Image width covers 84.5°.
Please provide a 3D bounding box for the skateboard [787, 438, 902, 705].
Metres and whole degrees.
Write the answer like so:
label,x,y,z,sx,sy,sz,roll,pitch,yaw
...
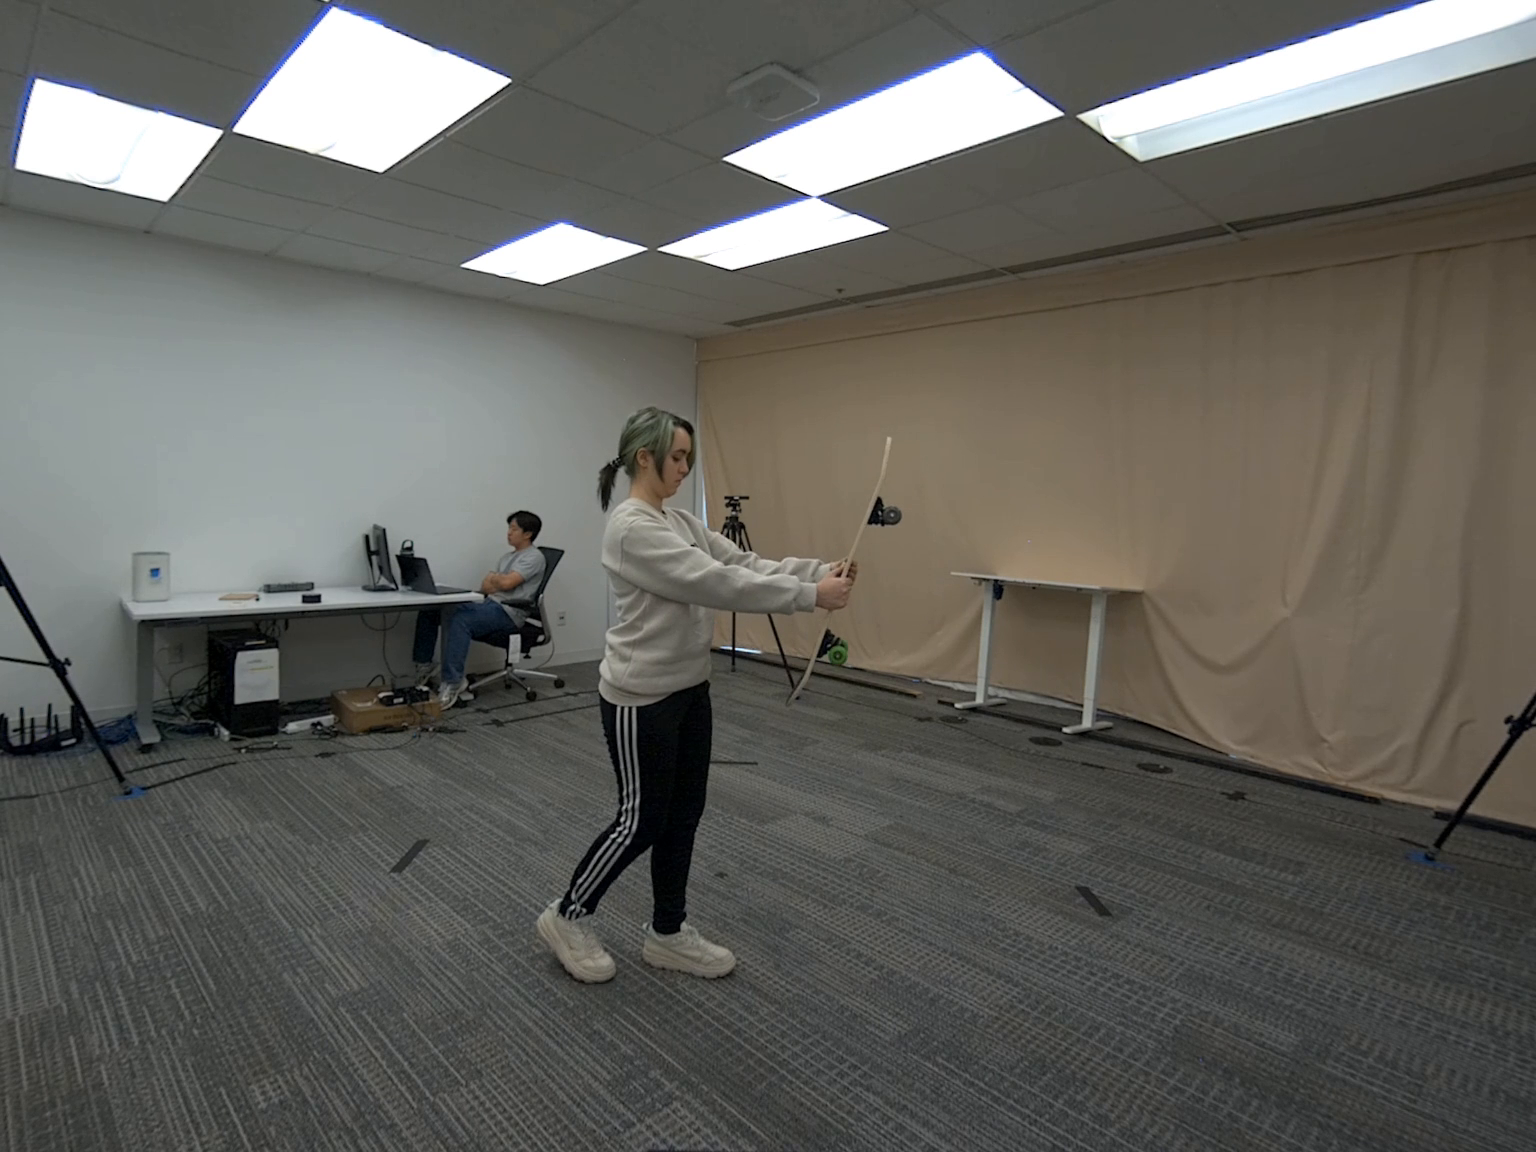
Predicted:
label,x,y,z,sx,sy,sz,roll,pitch,yaw
skateboard,0.231,0.012,2.290,0.111,0.784,0.192,21,3,9
